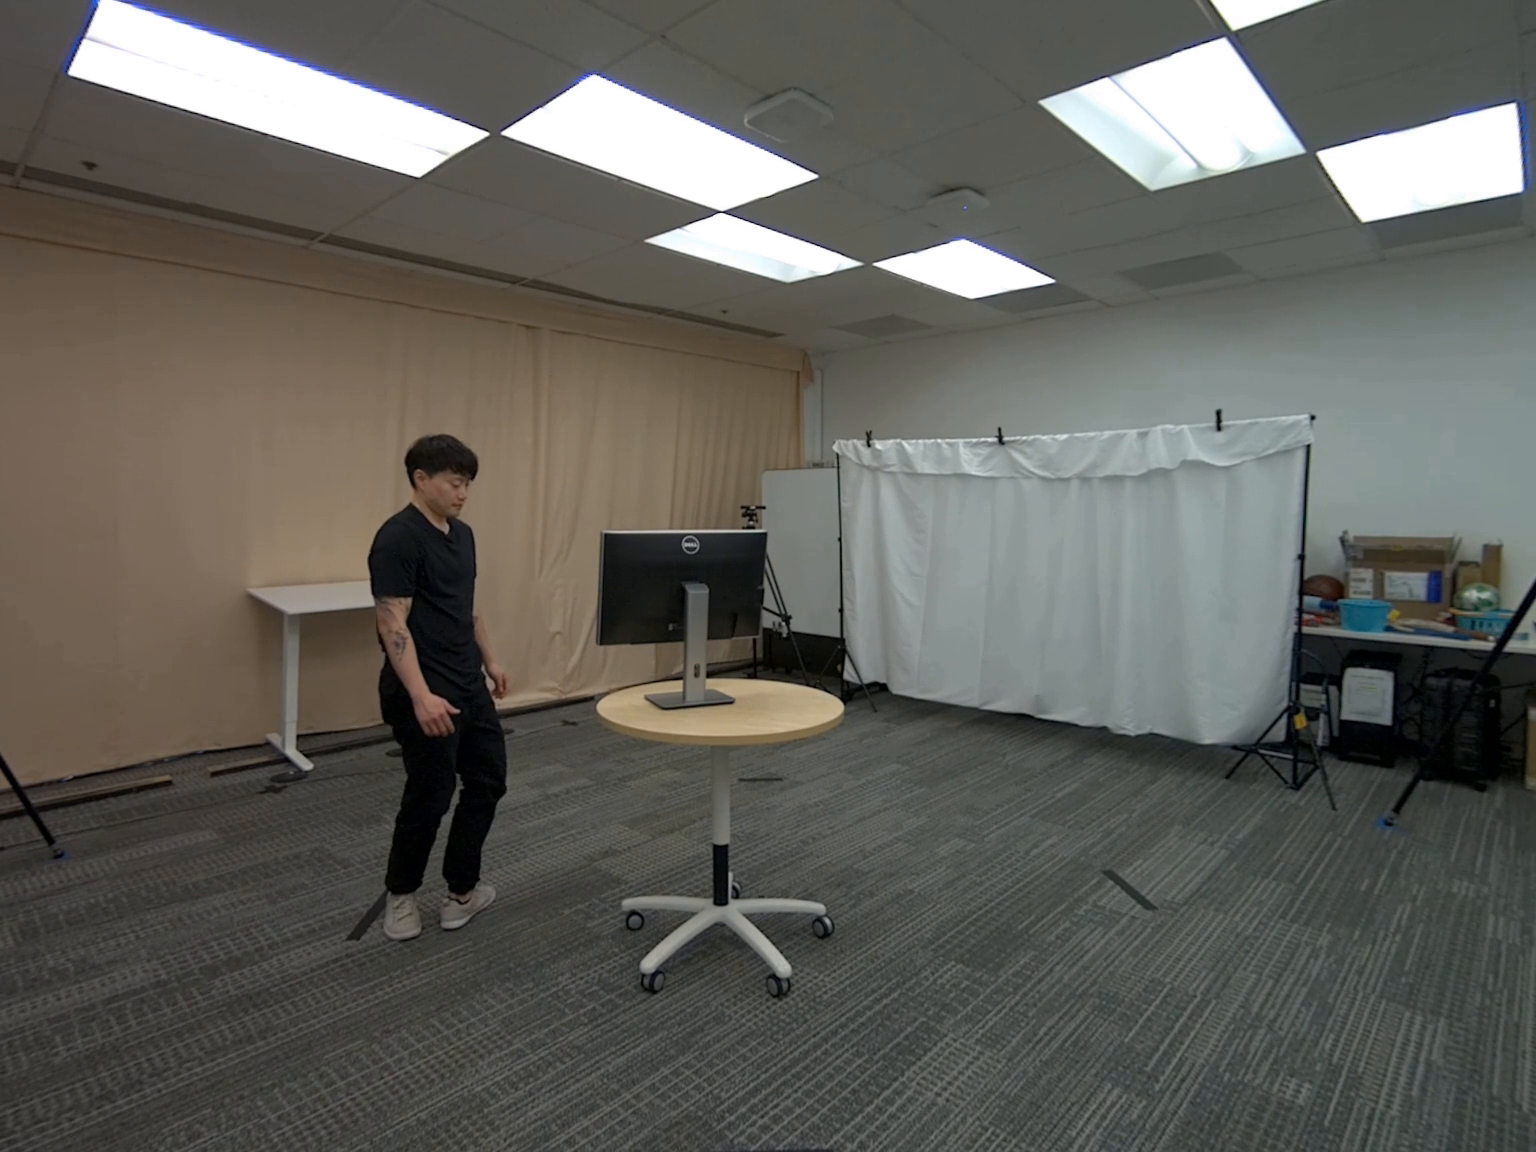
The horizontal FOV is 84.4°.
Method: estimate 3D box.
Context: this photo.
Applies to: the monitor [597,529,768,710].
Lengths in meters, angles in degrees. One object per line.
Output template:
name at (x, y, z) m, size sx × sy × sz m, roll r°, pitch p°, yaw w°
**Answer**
monitor at (-0.245, 0.131, 2.647) m, size 0.526 × 0.522 × 0.191 m, roll -1°, pitch 1°, yaw -24°
